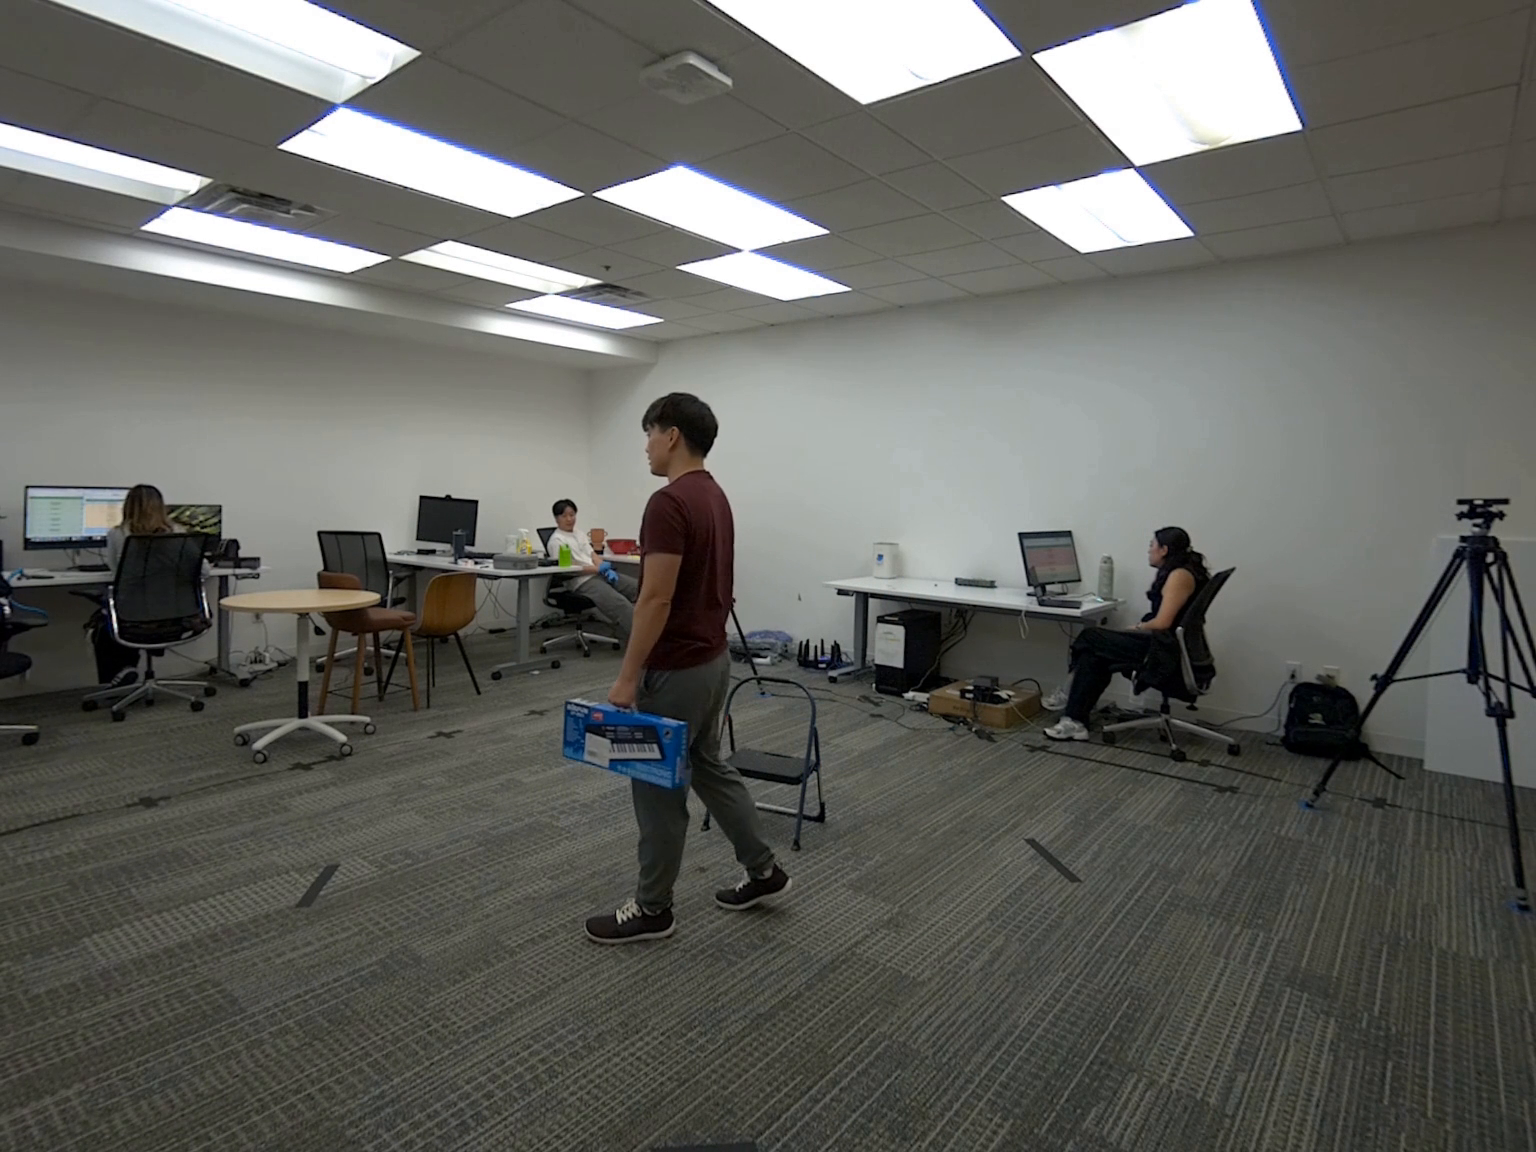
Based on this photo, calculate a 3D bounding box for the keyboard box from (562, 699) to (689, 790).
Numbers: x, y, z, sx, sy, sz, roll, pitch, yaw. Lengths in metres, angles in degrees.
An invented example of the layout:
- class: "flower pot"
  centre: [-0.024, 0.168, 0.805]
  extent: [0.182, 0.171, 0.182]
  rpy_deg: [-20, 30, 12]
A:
- class: "keyboard box"
  centre: [-0.428, 0.476, 2.468]
  extent: [0.451, 0.176, 0.057]
  rpy_deg: [5, 1, 35]
